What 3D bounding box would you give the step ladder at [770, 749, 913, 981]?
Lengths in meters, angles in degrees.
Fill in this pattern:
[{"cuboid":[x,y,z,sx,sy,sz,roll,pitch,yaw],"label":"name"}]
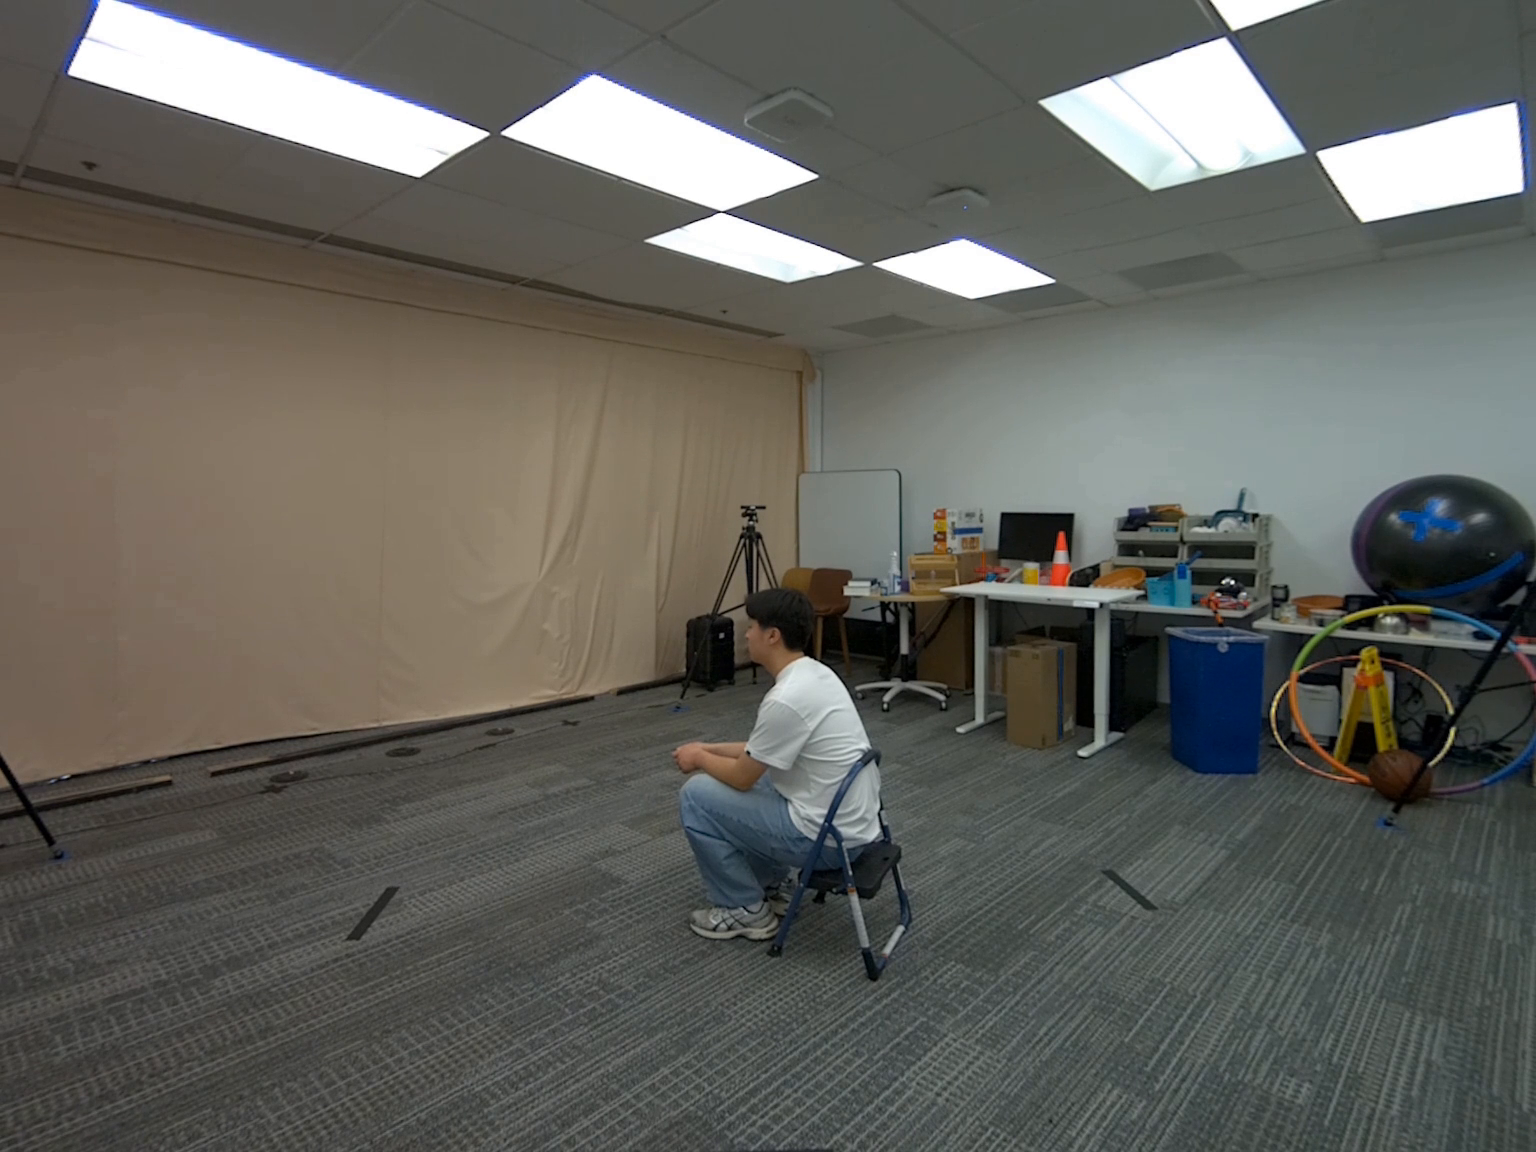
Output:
[{"cuboid":[0.252,0.868,2.694,0.358,0.604,0.420,2,5,26],"label":"step ladder"}]
